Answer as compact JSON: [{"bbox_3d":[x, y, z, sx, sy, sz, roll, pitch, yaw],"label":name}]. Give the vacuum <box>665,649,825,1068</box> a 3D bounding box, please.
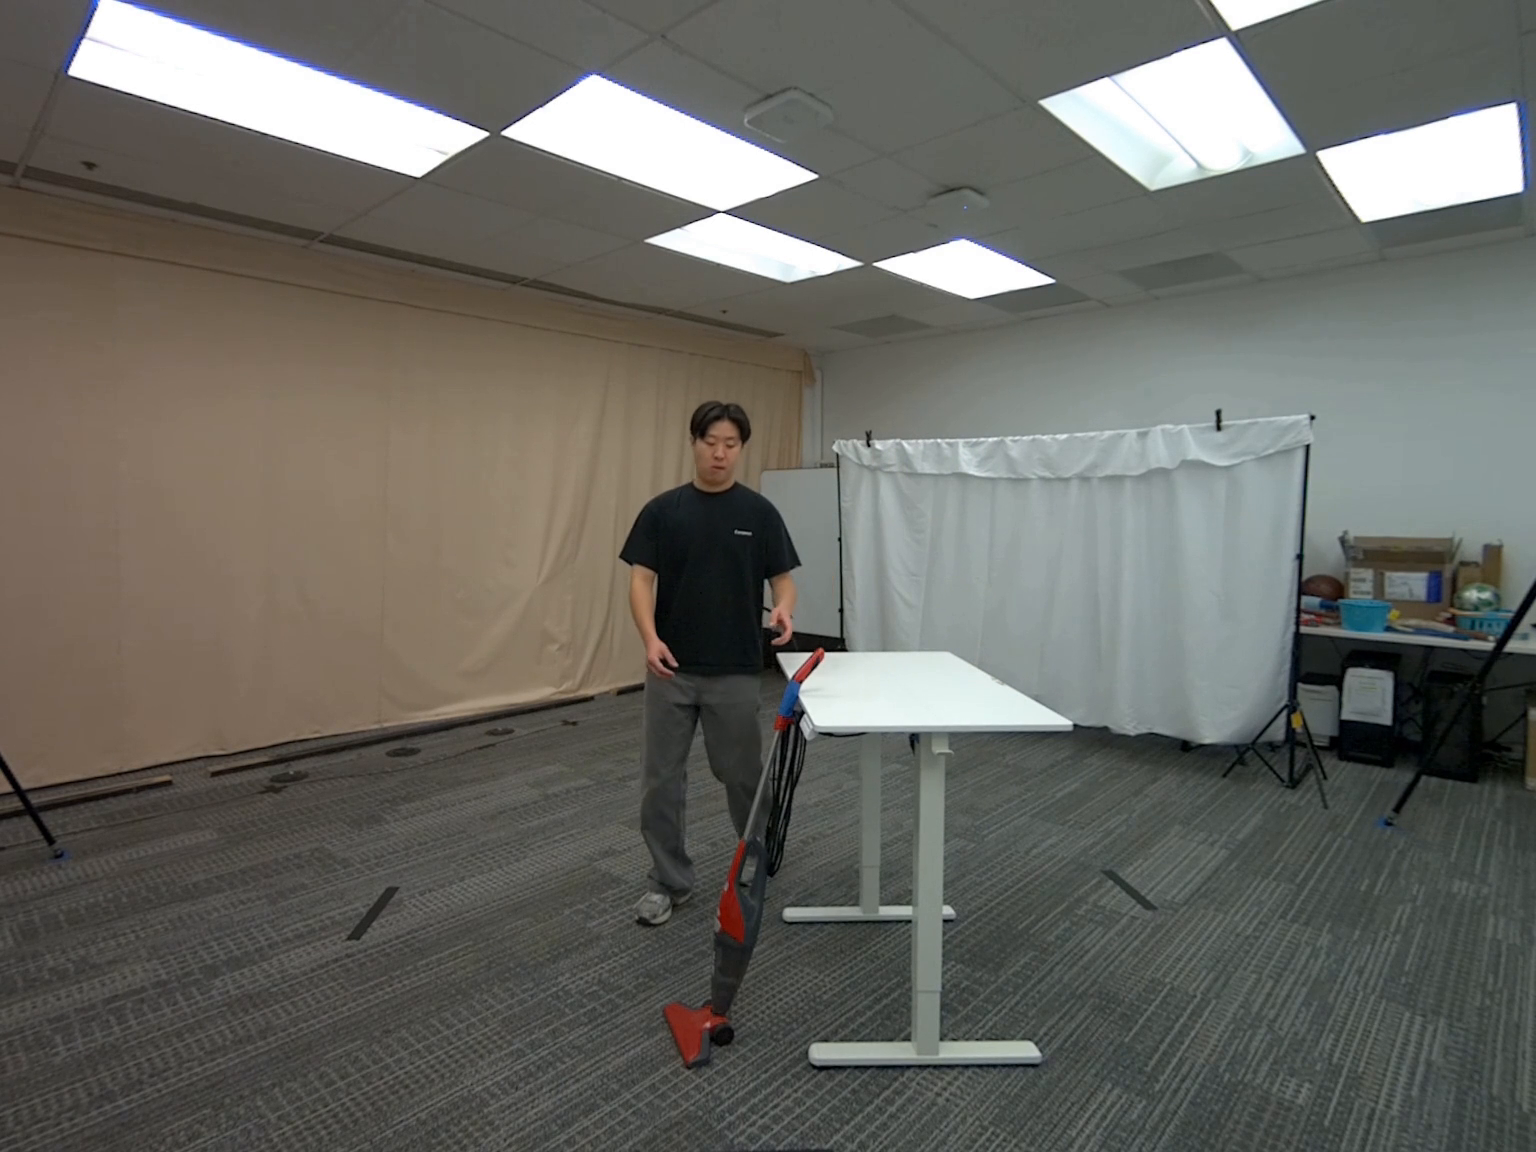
[{"bbox_3d":[-0.017,0.713,2.250,0.140,1.050,0.259,19,-4,-24],"label":"vacuum"}]
